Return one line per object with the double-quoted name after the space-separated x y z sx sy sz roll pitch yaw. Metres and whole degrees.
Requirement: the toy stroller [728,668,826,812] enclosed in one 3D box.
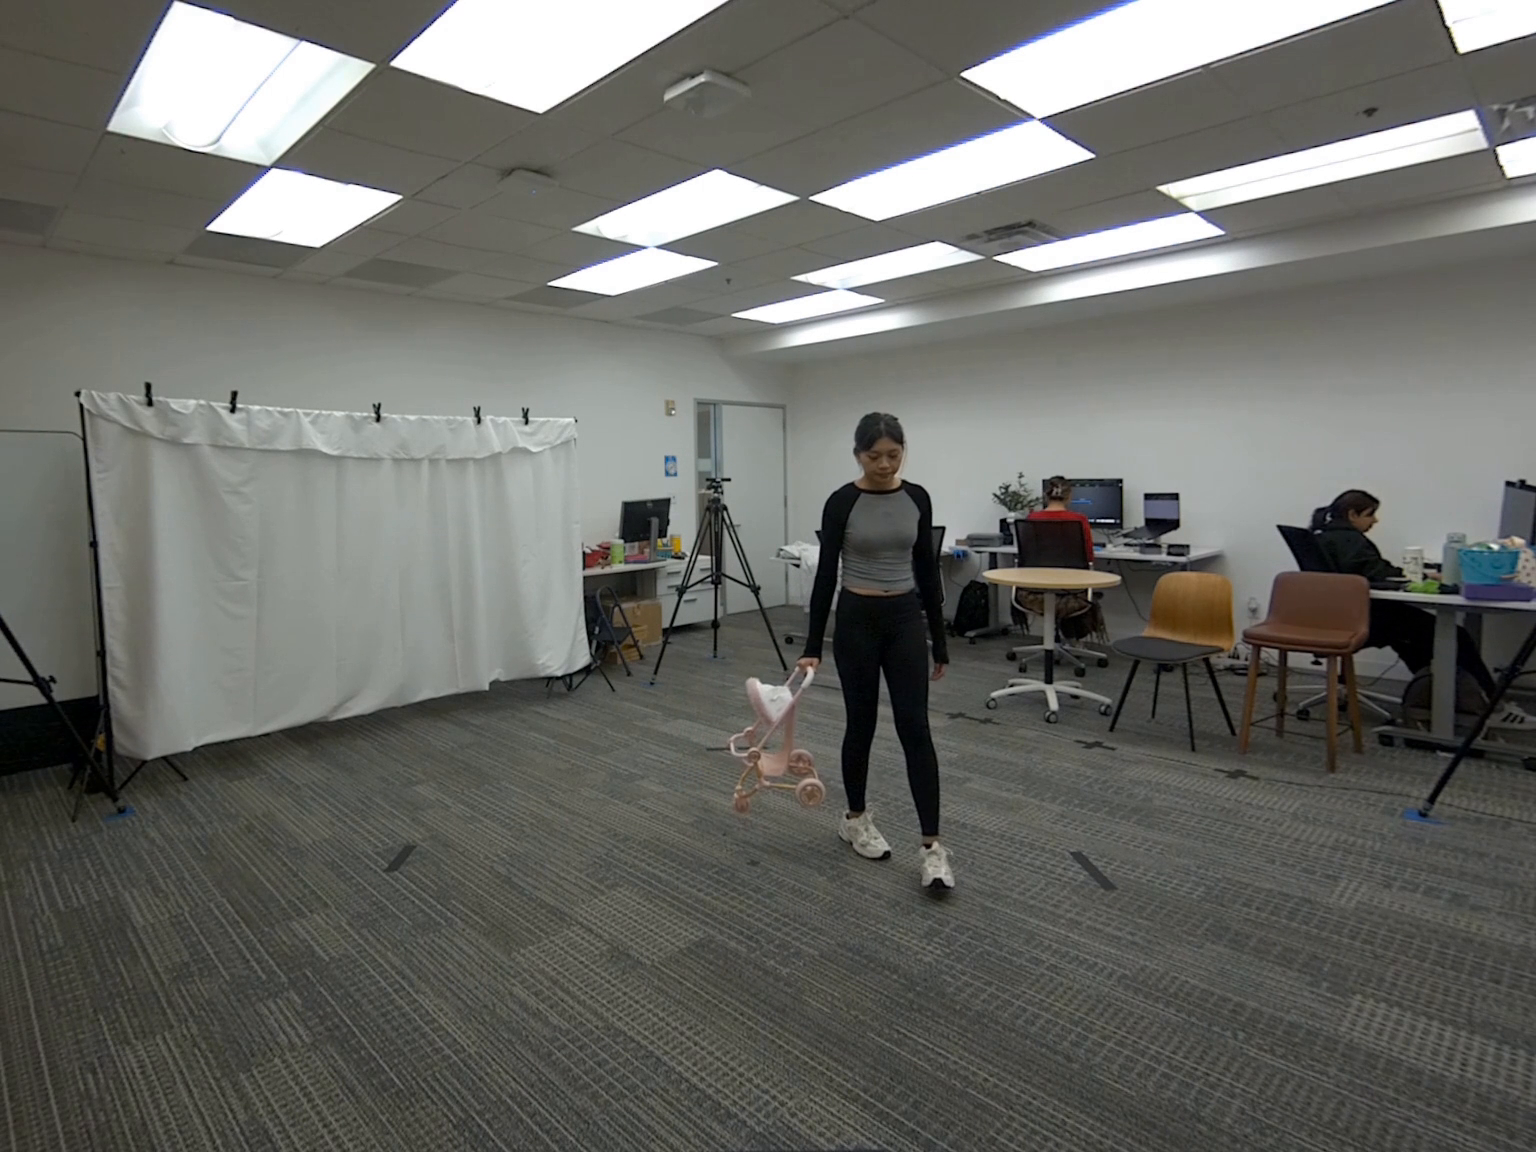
0.009 0.596 3.094 0.342 0.529 0.284 -5 10 1 "toy stroller"
